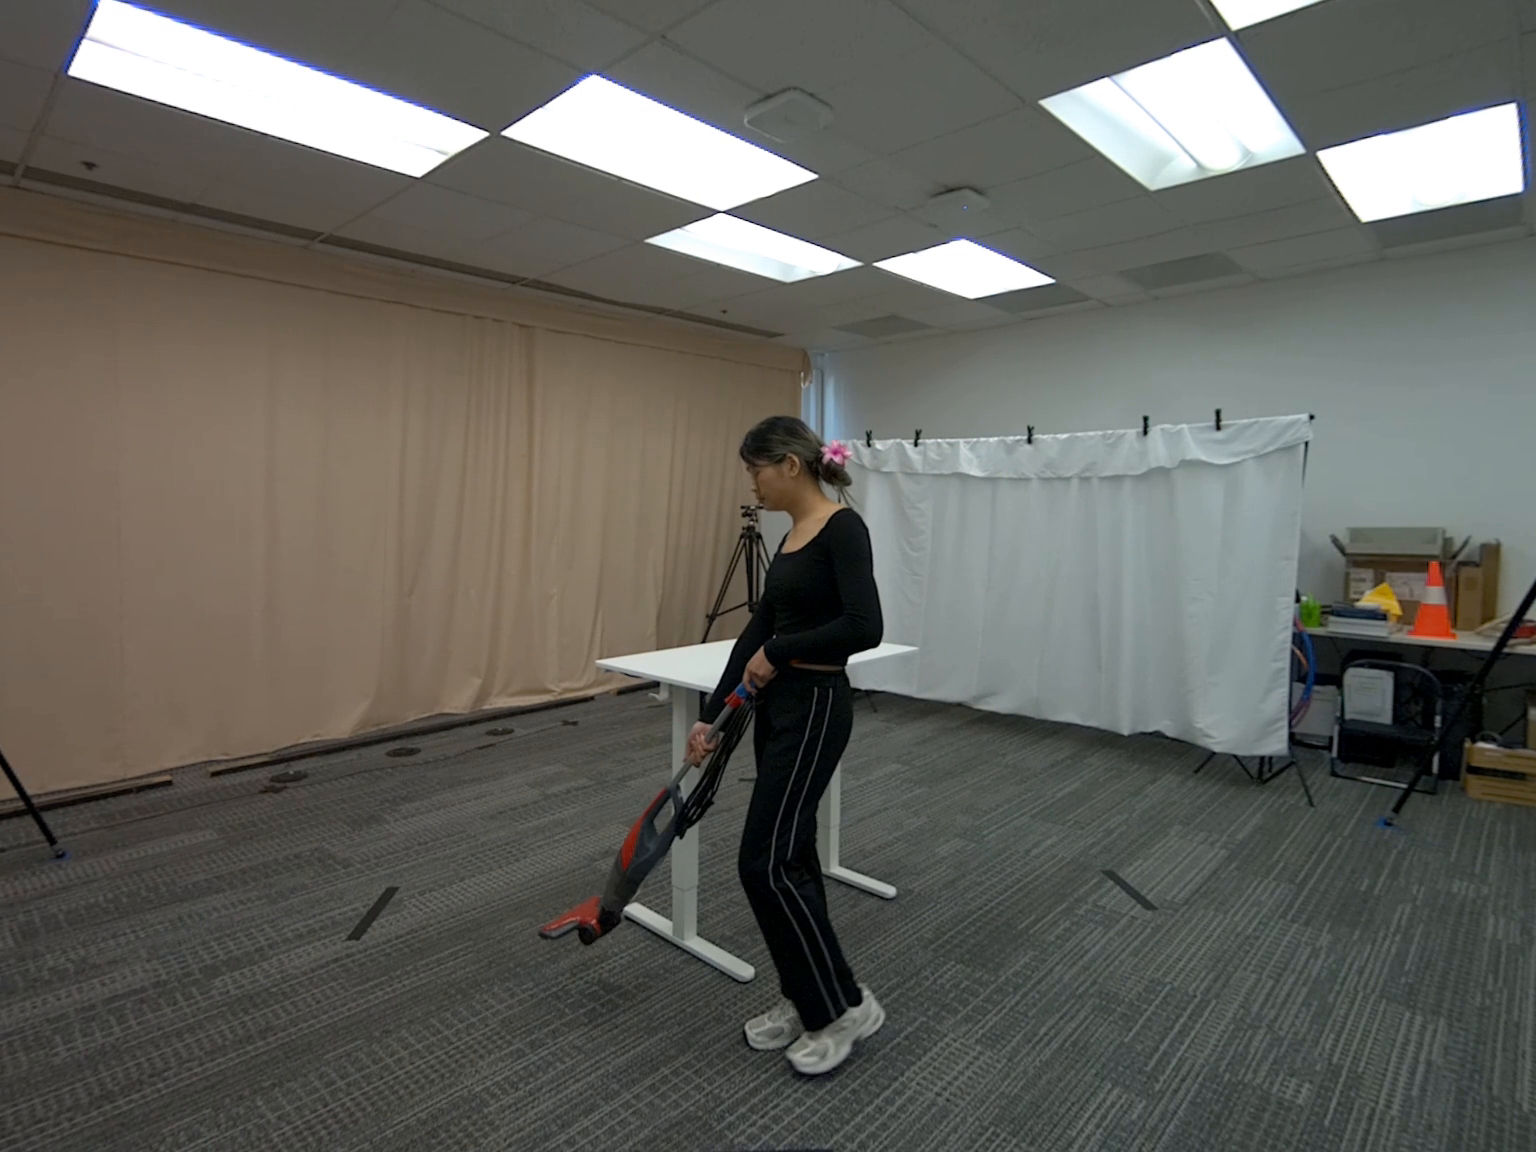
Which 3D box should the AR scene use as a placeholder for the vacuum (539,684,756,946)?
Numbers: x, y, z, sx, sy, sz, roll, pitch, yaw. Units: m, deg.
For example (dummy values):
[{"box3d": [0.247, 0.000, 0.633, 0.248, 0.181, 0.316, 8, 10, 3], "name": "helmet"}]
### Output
[{"box3d": [-0.250, 0.583, 2.199, 0.148, 1.050, 0.245, 41, 22, 24], "name": "vacuum"}]
